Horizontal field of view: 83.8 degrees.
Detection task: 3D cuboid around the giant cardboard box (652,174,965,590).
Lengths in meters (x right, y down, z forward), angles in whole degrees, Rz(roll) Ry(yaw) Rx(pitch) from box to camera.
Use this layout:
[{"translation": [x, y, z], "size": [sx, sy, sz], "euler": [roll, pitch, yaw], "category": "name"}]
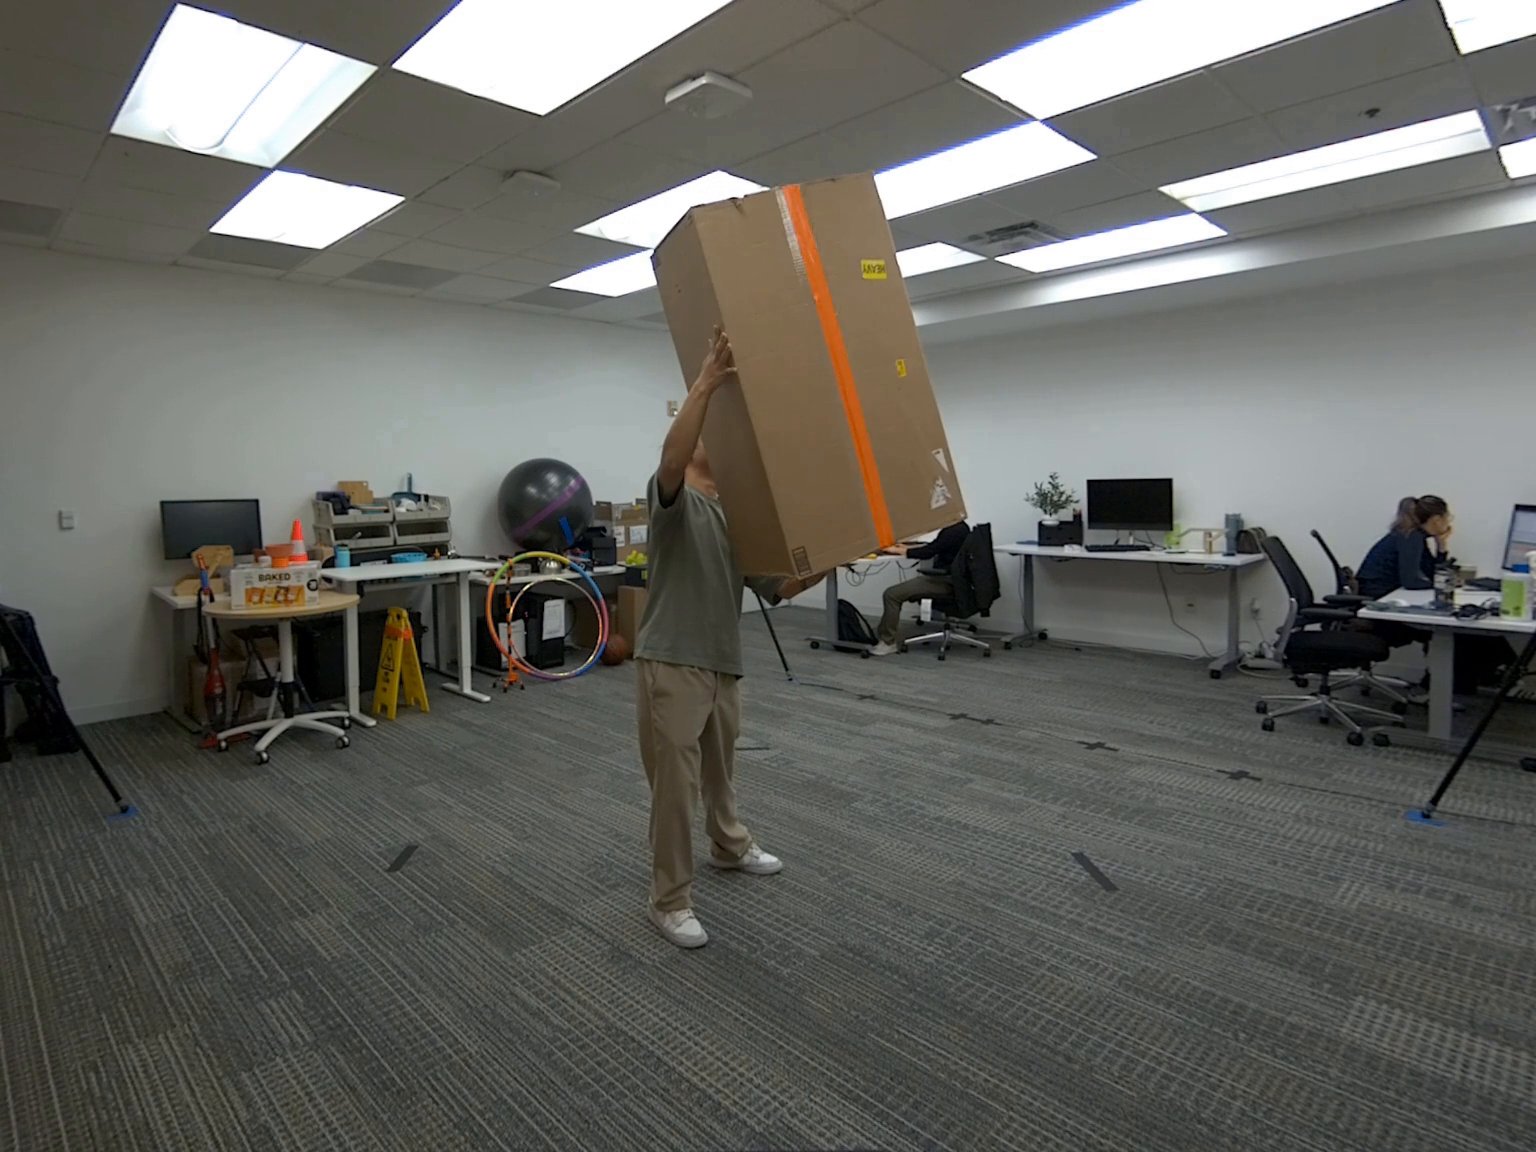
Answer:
[{"translation": [0.107, -0.568, 2.529], "size": [0.570, 1.020, 0.434], "euler": [-18, 6, -22], "category": "giant cardboard box"}]
